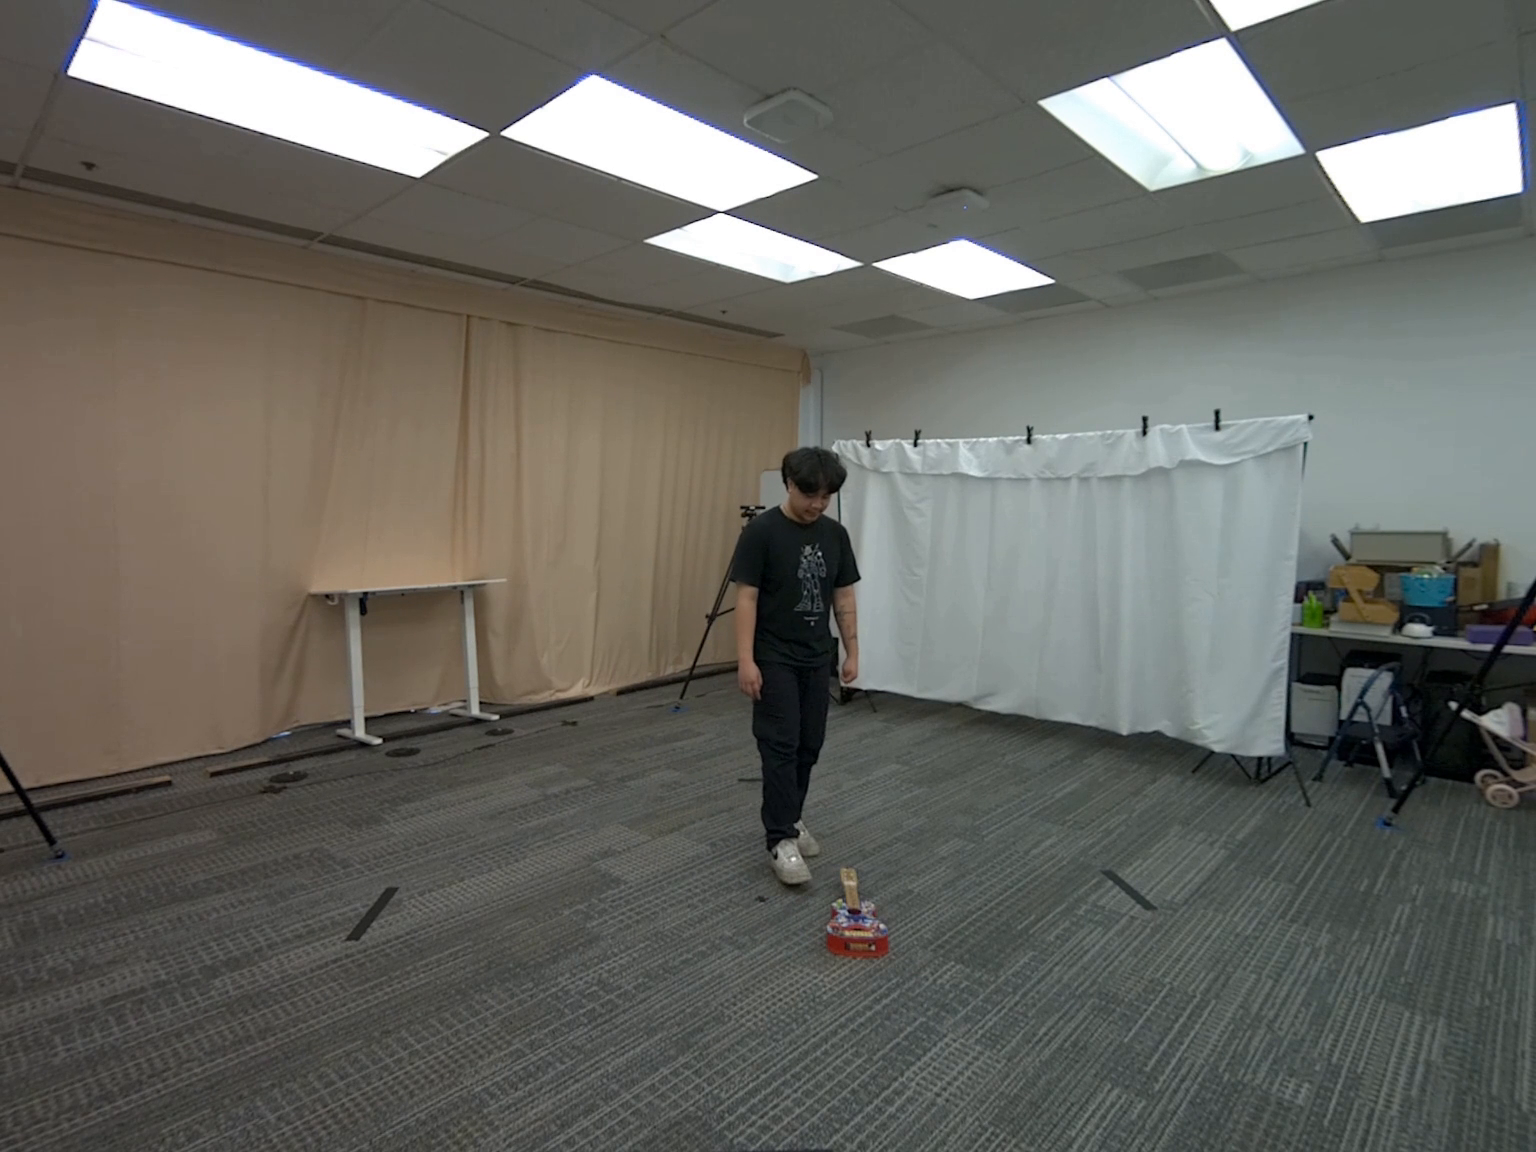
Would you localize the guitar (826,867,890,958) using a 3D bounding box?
[{"bbox_3d":[0.316,1.118,2.834,0.195,0.070,0.493,0,6,10],"label":"guitar"}]
